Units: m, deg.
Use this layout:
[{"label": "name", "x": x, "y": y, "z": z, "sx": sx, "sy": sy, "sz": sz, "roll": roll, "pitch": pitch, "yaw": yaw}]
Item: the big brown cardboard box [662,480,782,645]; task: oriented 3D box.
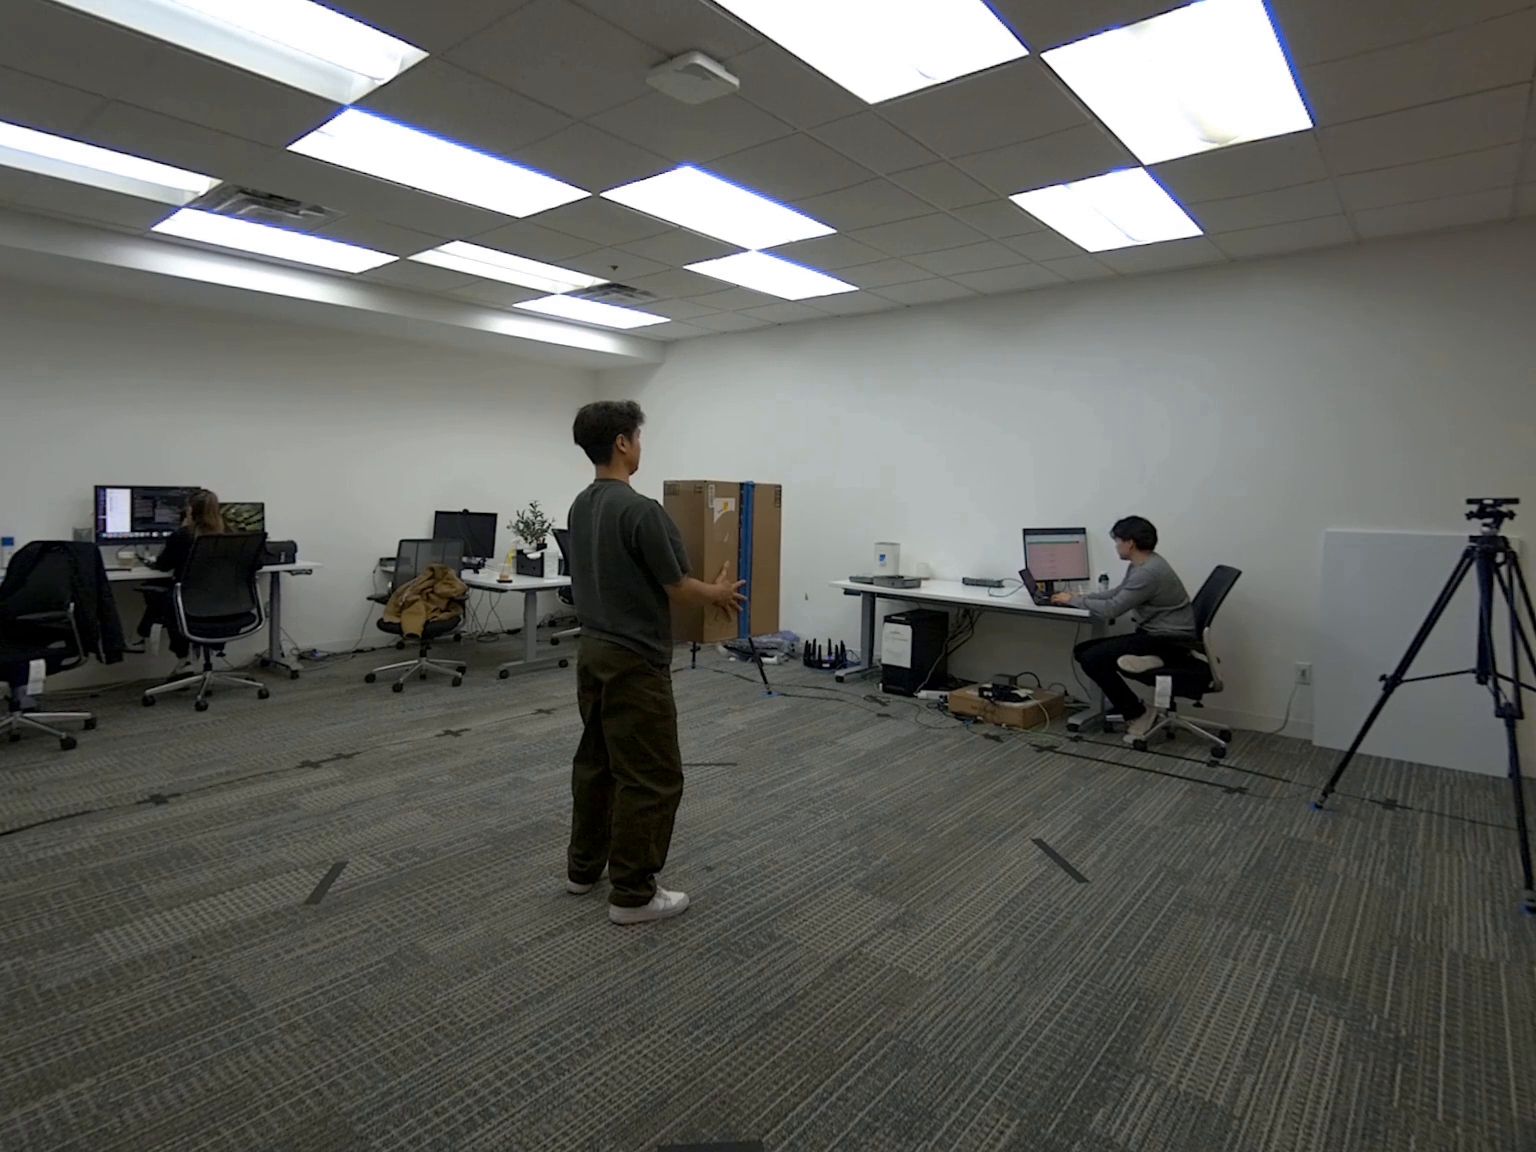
[{"label": "big brown cardboard box", "x": -0.177, "y": -0.070, "z": 3.138, "sx": 0.241, "sy": 0.587, "sz": 0.405, "roll": 5, "pitch": 5, "yaw": 41}]
